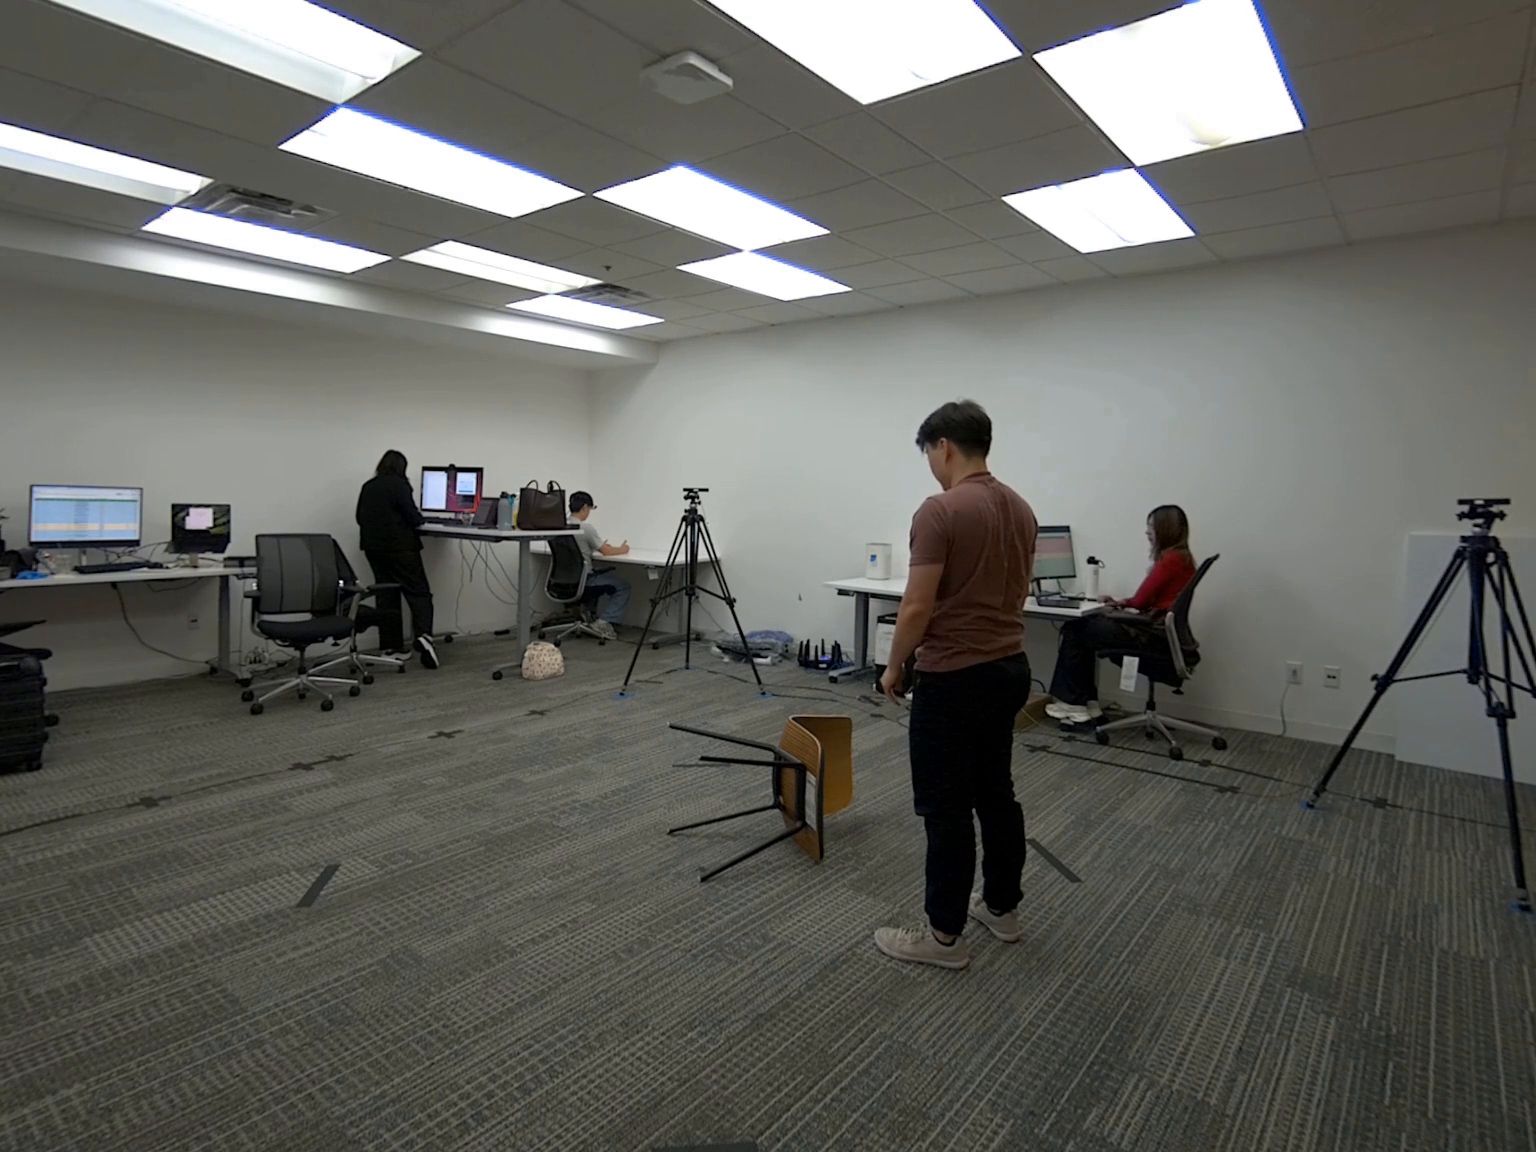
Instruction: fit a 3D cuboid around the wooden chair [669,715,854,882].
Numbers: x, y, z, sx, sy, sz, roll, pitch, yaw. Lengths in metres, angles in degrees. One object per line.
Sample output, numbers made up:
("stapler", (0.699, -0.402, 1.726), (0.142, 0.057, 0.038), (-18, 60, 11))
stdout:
("wooden chair", (0.070, 0.825, 3.319), (0.858, 0.476, 0.537), (-1, 5, -23))
